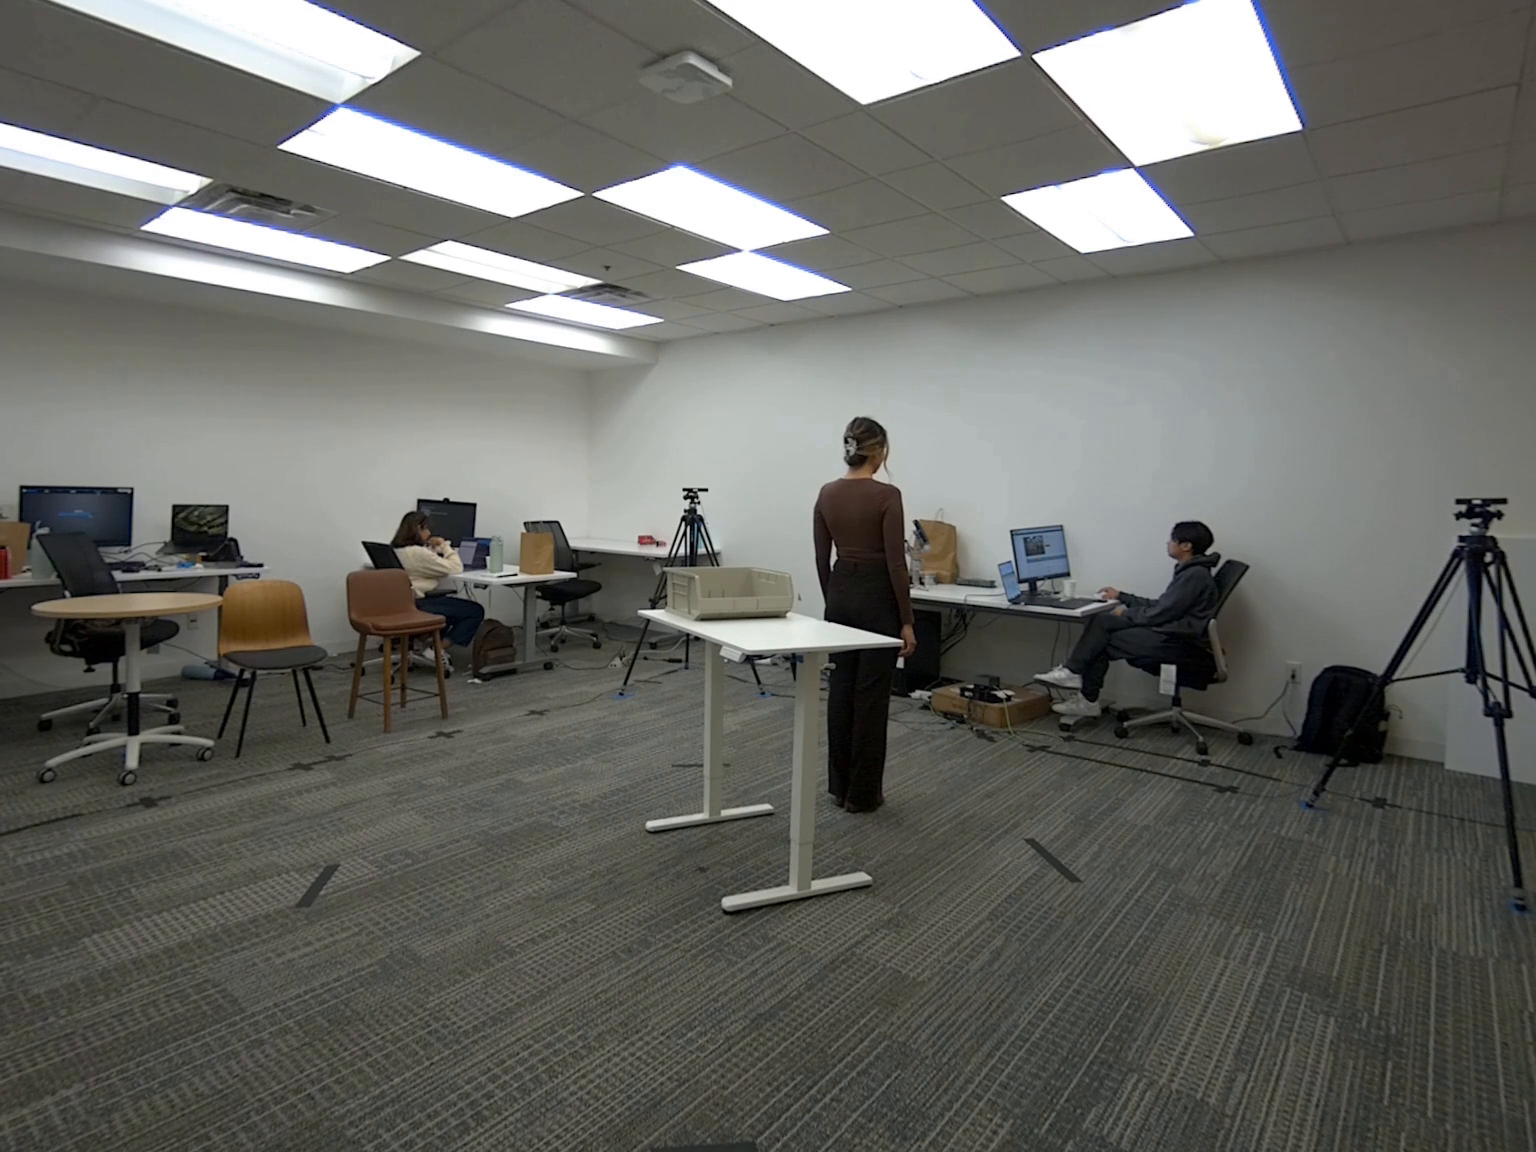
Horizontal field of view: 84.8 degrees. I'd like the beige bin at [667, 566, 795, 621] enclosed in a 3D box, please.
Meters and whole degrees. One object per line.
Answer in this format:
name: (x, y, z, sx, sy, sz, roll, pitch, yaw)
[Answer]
beige bin: (-0.173, 0.067, 3.464, 0.412, 0.189, 0.387, -1, 3, -27)
